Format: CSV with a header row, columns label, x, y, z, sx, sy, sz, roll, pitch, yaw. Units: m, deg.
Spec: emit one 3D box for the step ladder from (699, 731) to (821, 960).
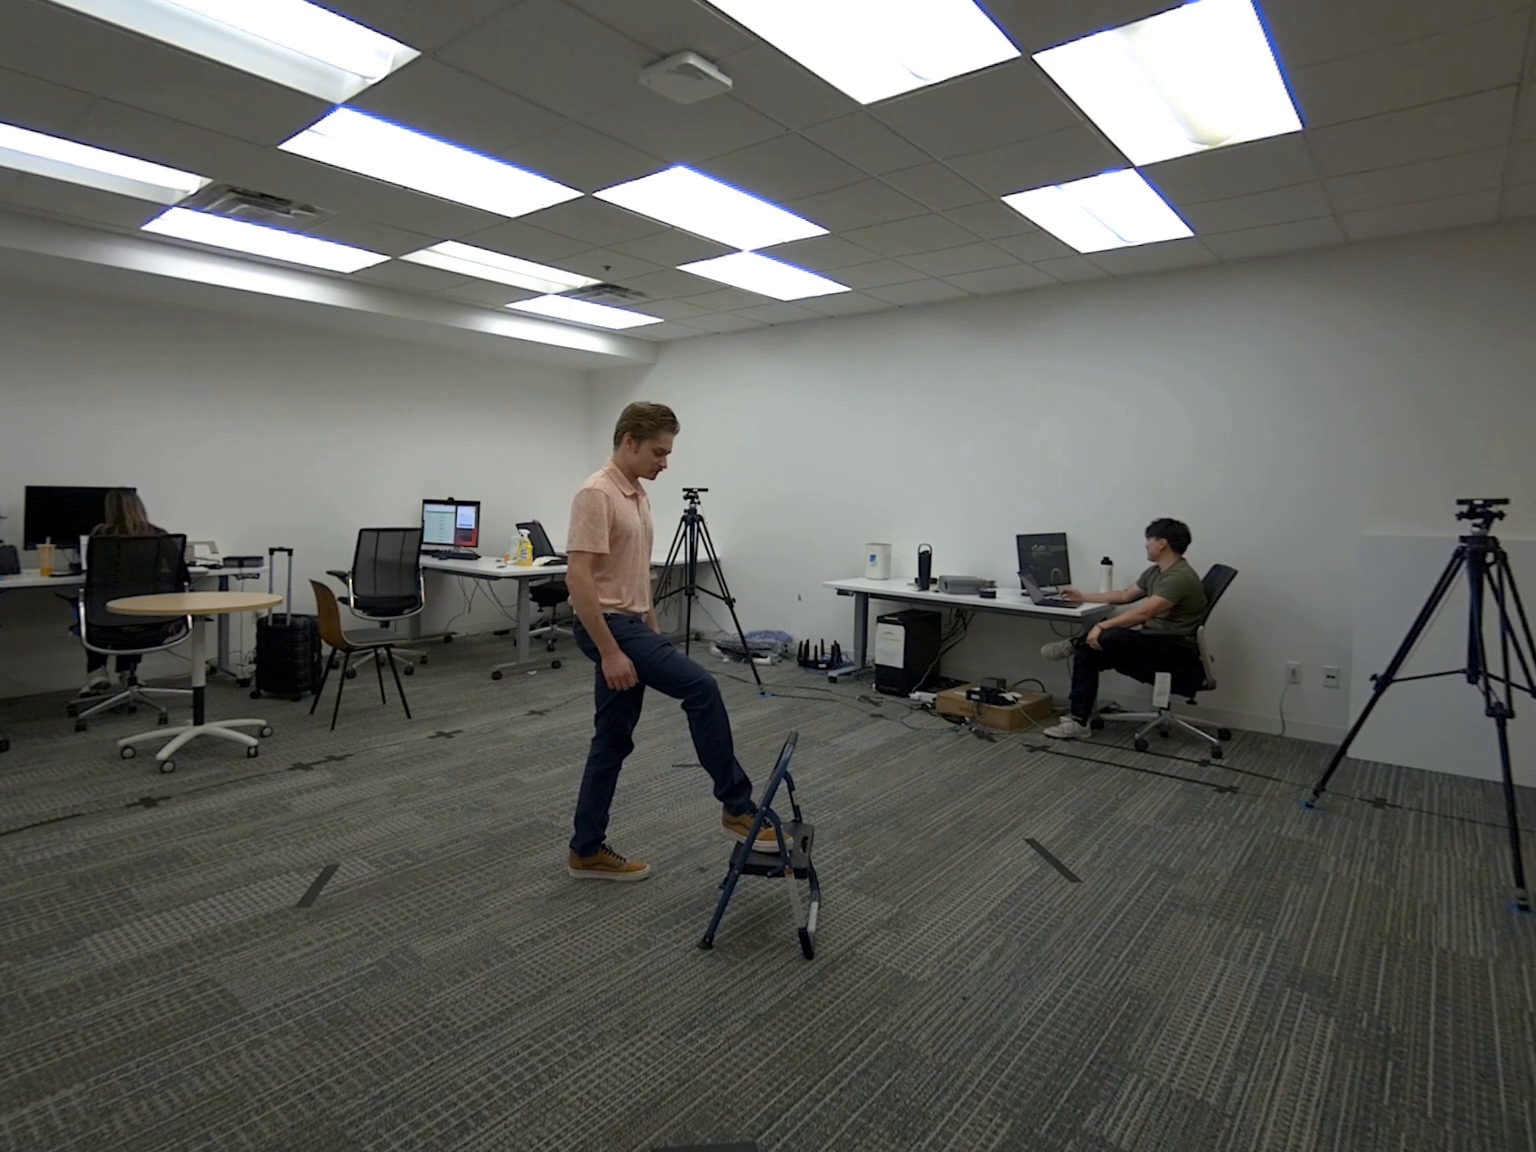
label,x,y,z,sx,sy,sz,roll,pitch,yaw
step ladder,-0.011,0.809,2.730,0.353,0.604,0.428,2,3,8
